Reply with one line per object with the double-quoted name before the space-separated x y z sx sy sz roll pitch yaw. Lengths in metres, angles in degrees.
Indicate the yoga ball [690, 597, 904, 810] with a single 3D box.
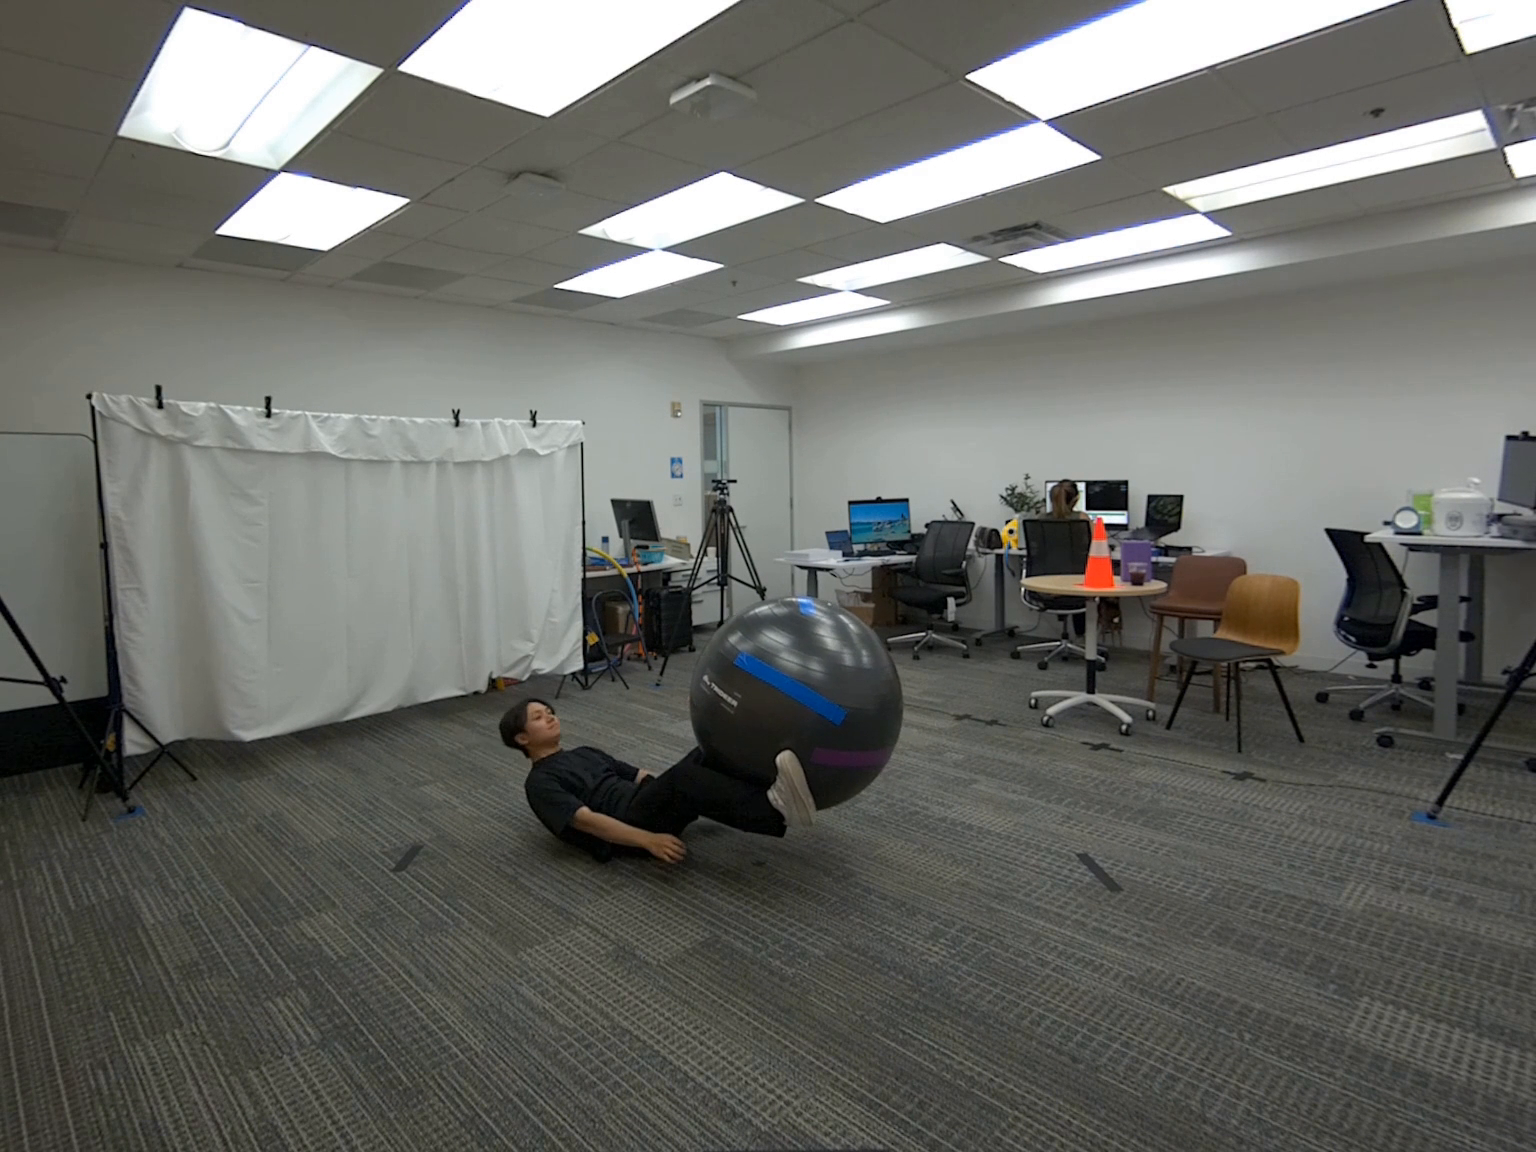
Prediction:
"yoga ball" 0.094 0.454 3.079 0.757 0.755 0.762 -1 5 -2
